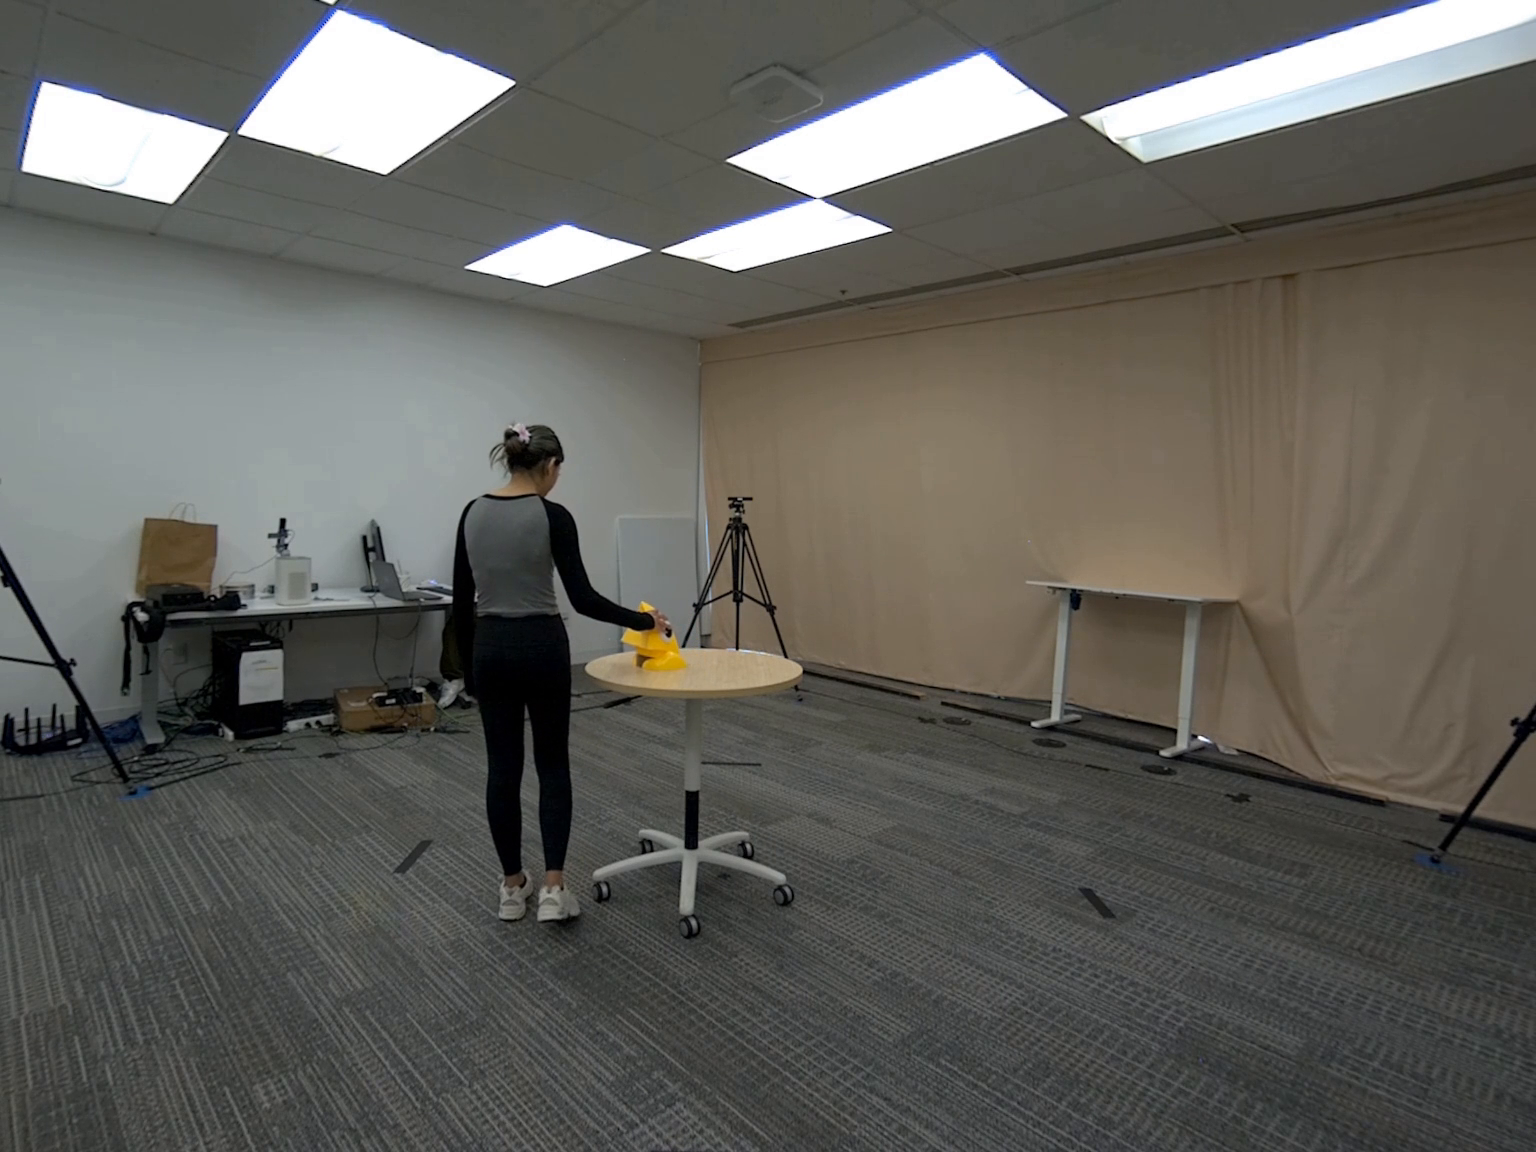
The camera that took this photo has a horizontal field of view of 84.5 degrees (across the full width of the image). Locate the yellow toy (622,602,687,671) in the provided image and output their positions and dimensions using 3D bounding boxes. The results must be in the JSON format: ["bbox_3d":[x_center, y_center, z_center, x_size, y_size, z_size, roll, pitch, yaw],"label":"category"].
[{"bbox_3d":[-0.403,0.206,2.997,0.189,0.230,0.210,-1,5,-35],"label":"yellow toy"}]
